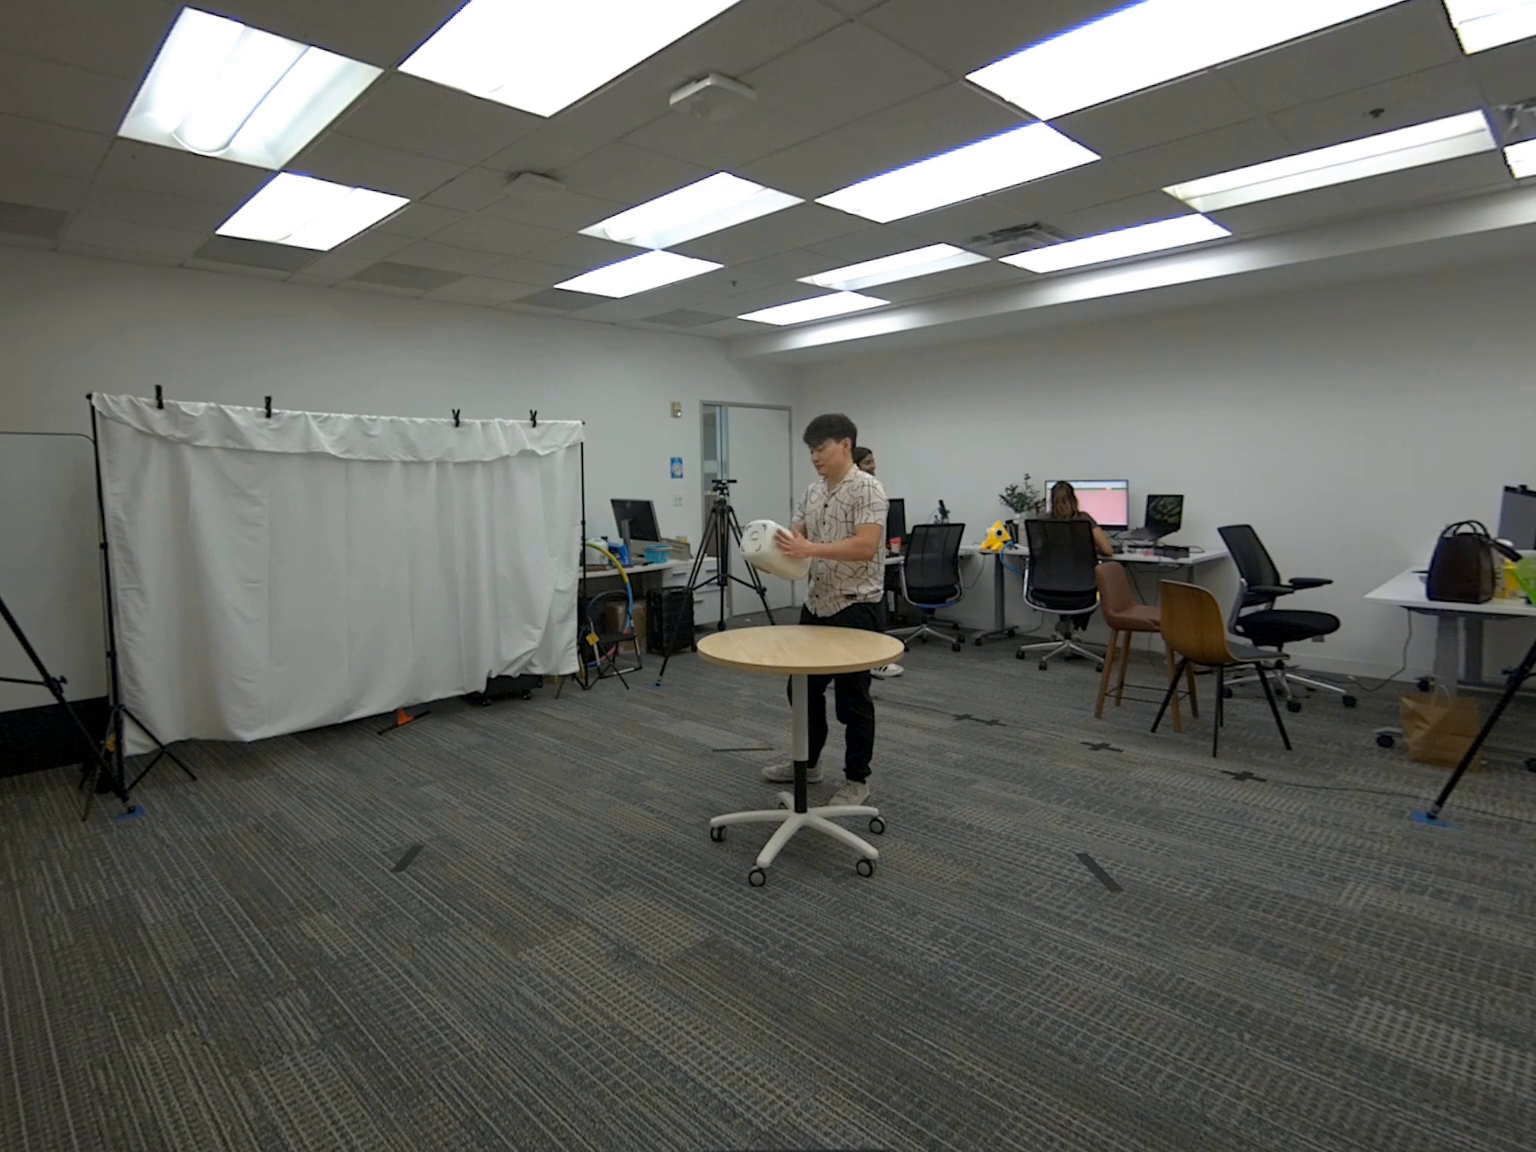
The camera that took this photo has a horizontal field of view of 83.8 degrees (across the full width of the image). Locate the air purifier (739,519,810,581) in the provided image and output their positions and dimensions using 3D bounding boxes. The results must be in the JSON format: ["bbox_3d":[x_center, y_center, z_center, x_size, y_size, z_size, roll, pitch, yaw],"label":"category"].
[{"bbox_3d":[0.034,-0.111,3.484,0.256,0.172,0.176,25,-16,-36],"label":"air purifier"}]
